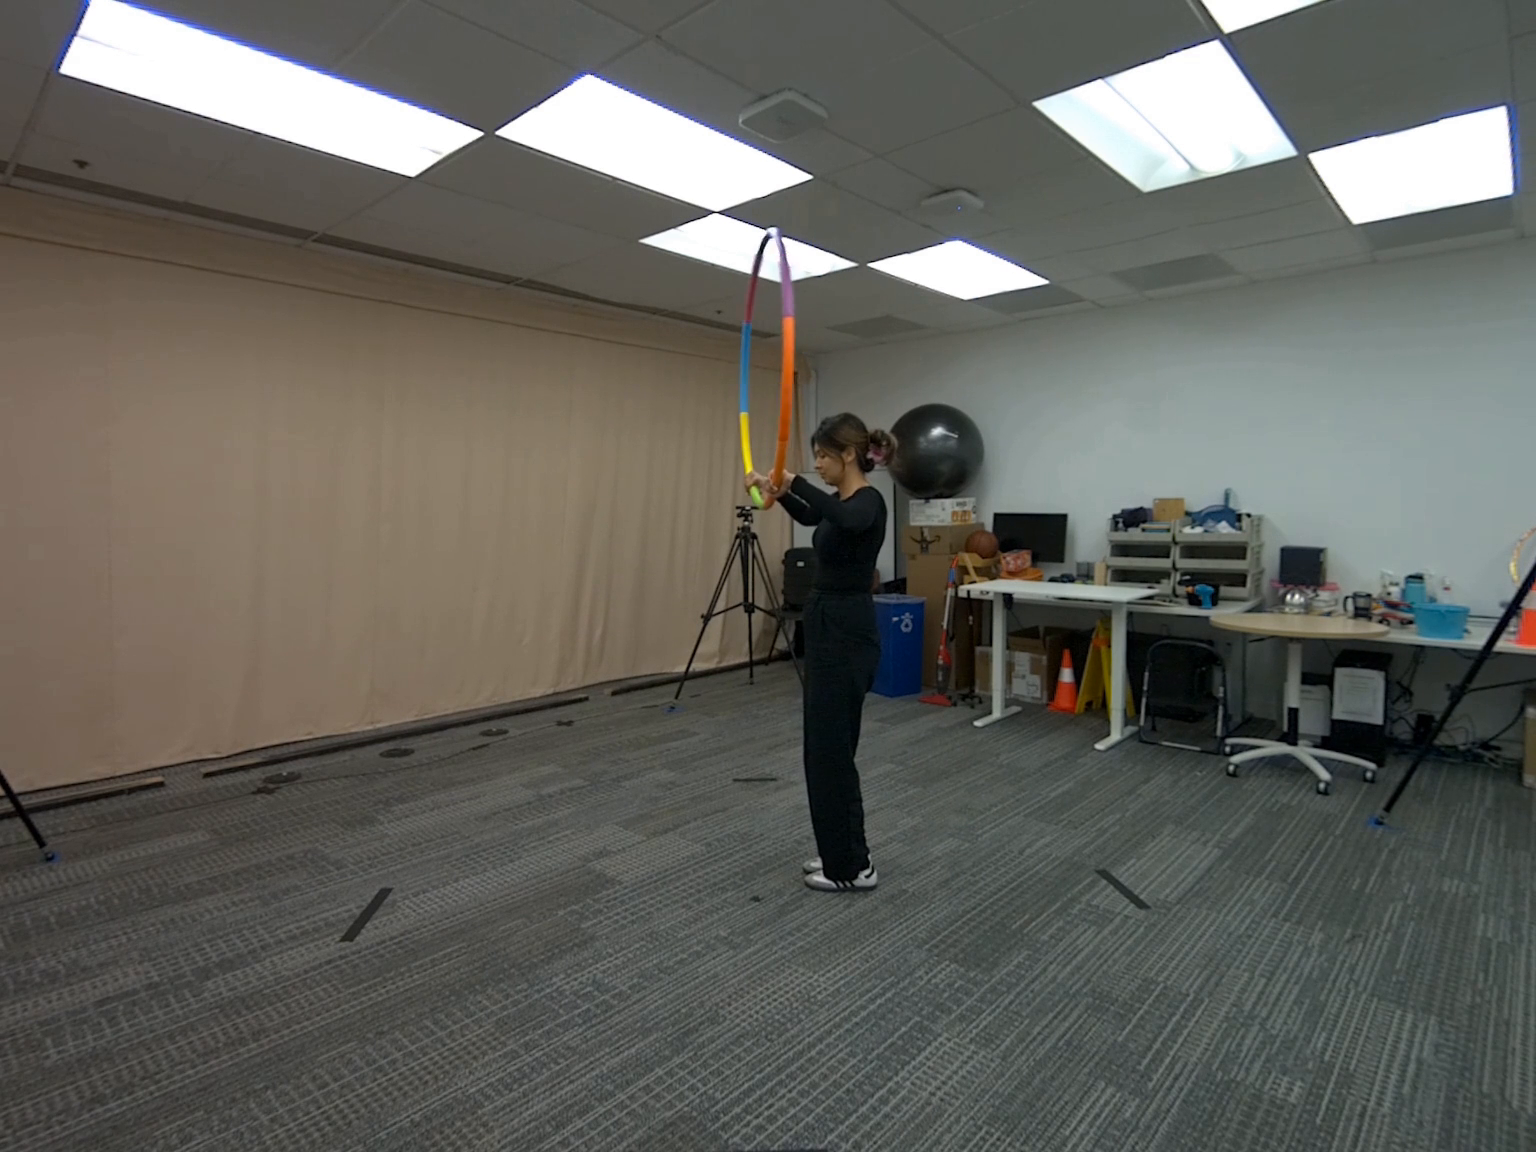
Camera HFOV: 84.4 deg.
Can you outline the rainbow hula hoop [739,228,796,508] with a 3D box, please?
[{"bbox_3d":[-0.009,-0.721,3.021,0.035,0.976,0.989,-1,4,-9],"label":"rainbow hula hoop"}]
